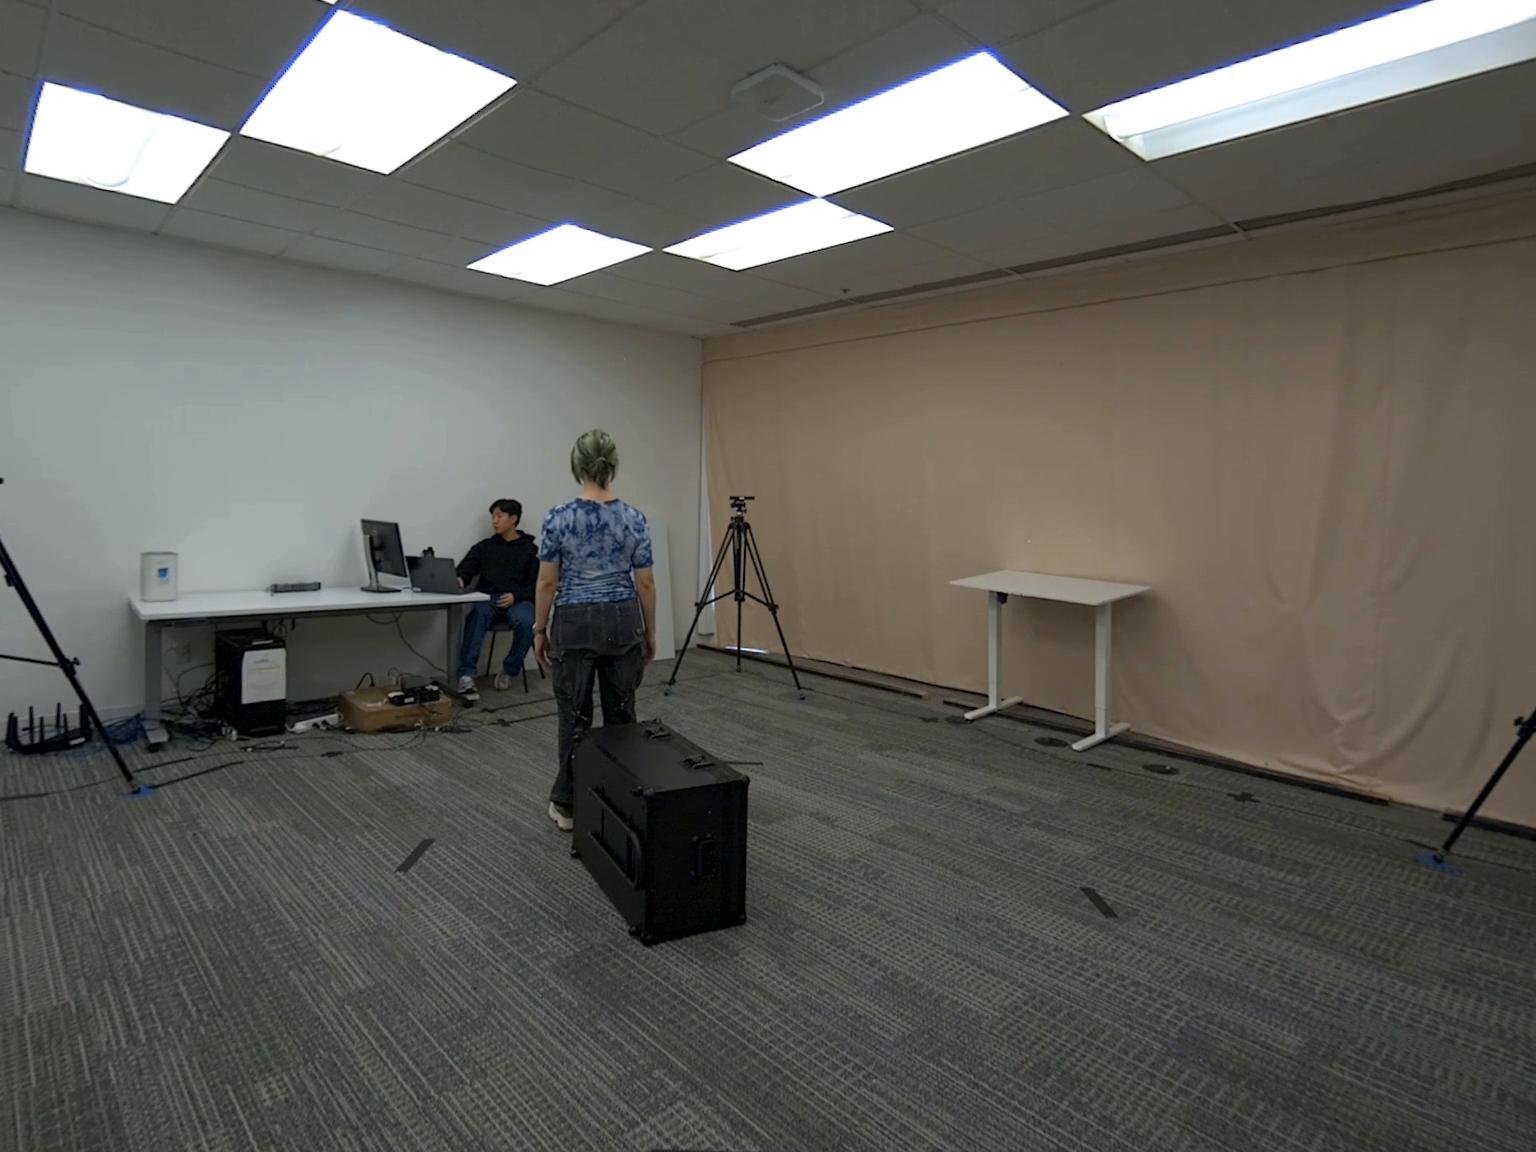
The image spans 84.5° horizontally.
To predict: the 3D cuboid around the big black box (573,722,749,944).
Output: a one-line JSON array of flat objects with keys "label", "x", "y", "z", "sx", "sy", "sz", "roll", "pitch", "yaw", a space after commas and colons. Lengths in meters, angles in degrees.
[{"label": "big black box", "x": -0.439, "y": 0.862, "z": 3.019, "sx": 0.389, "sy": 0.520, "sz": 0.880, "roll": 0, "pitch": 4, "yaw": -28}]
